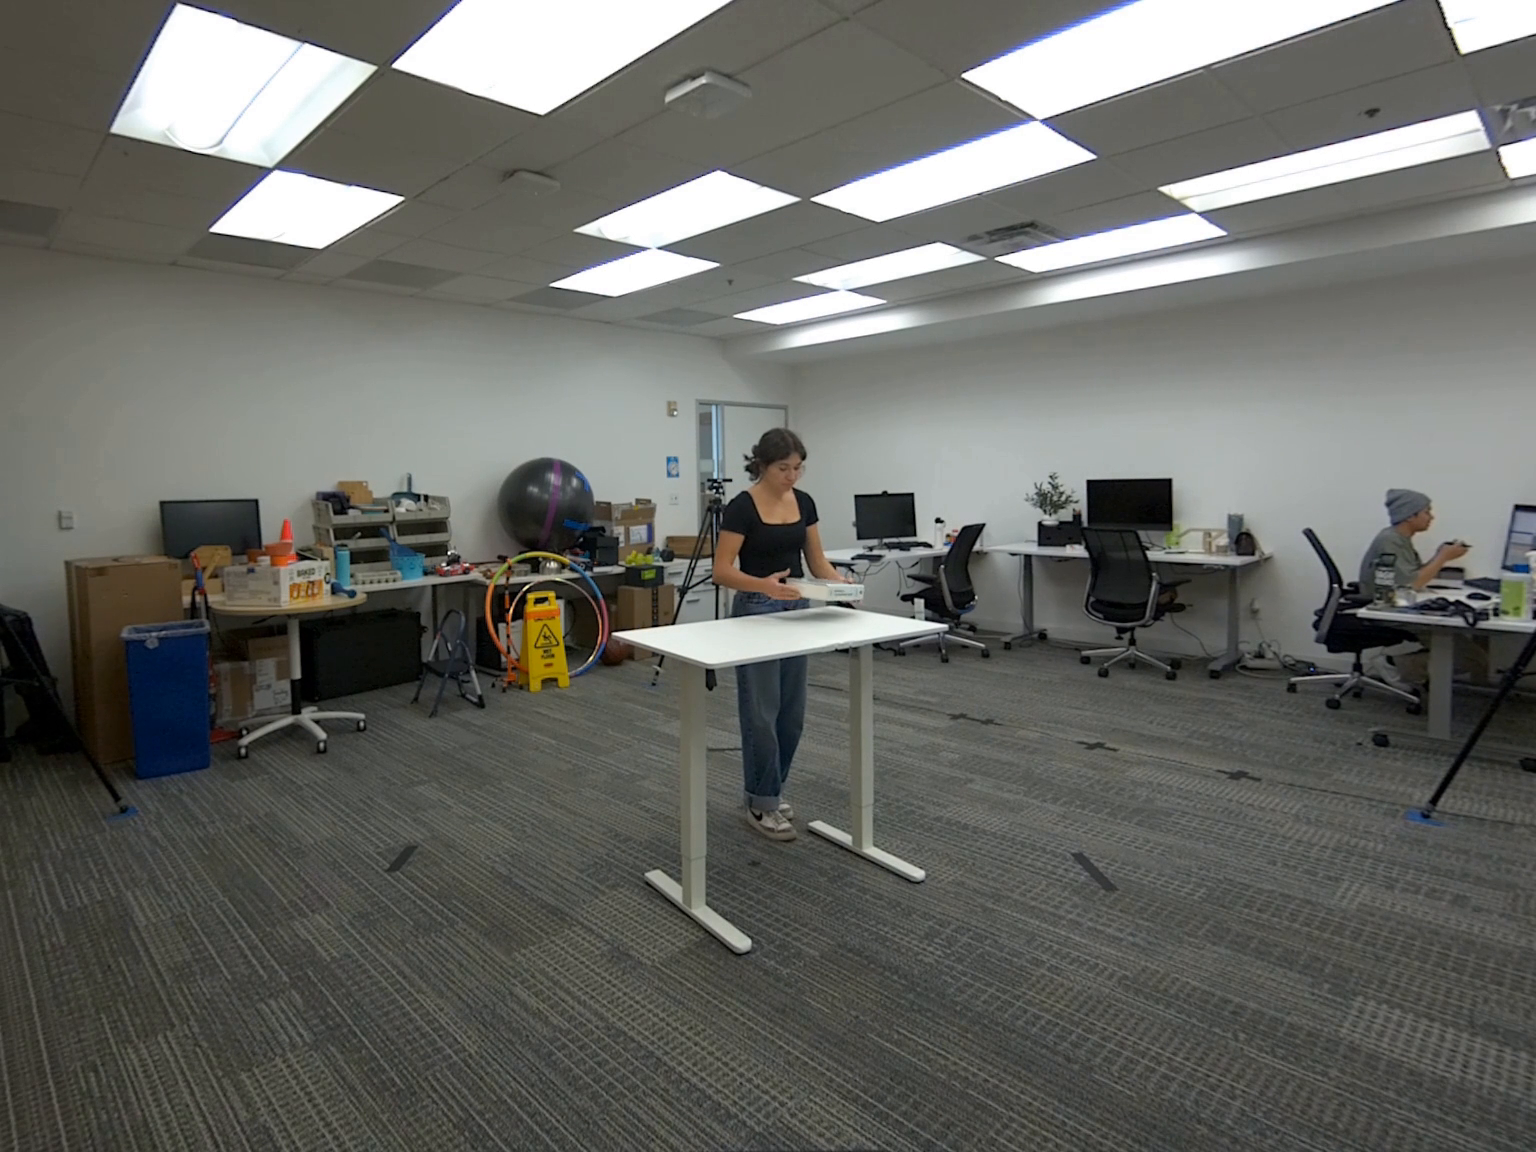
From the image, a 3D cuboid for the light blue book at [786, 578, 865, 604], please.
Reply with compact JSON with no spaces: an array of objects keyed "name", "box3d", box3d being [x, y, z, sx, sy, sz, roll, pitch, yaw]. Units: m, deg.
[{"name":"light blue book","box3d":[0.203,0.049,3.159,0.197,0.059,0.253,8,4,36]}]
